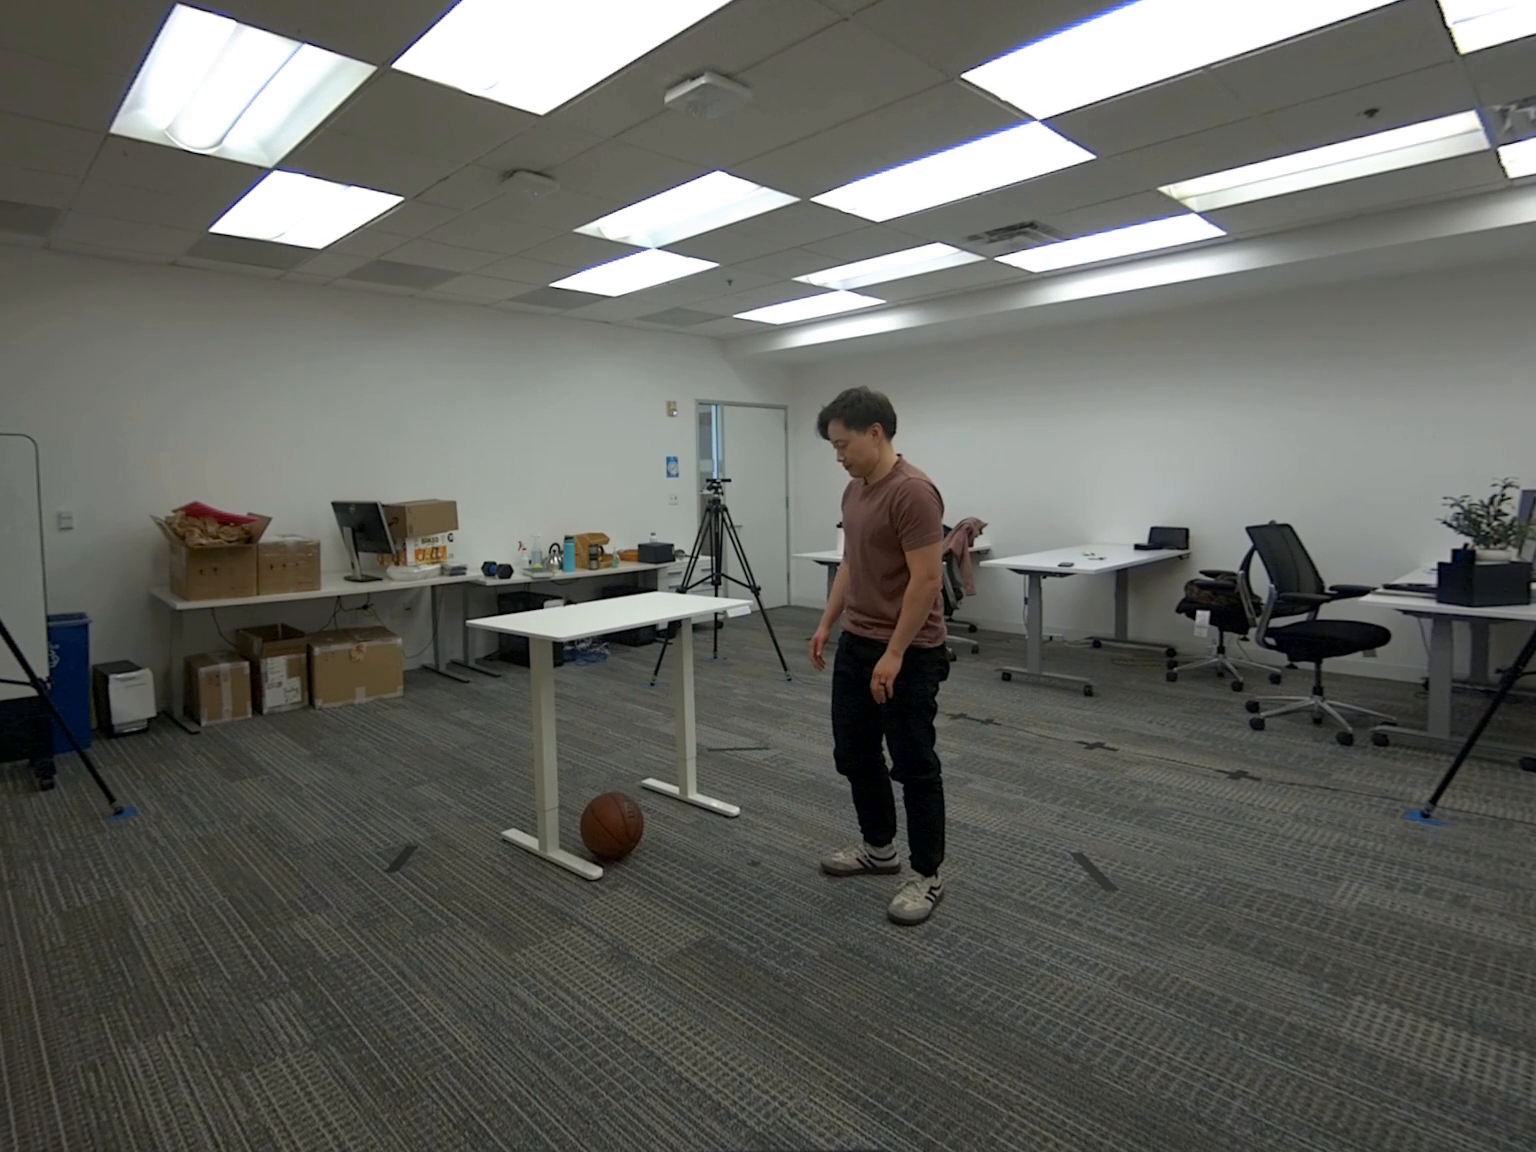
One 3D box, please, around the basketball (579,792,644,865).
[{"bbox_3d":[-0.572,0.932,3.173,0.236,0.235,0.237,-1,5,-2],"label":"basketball"}]
